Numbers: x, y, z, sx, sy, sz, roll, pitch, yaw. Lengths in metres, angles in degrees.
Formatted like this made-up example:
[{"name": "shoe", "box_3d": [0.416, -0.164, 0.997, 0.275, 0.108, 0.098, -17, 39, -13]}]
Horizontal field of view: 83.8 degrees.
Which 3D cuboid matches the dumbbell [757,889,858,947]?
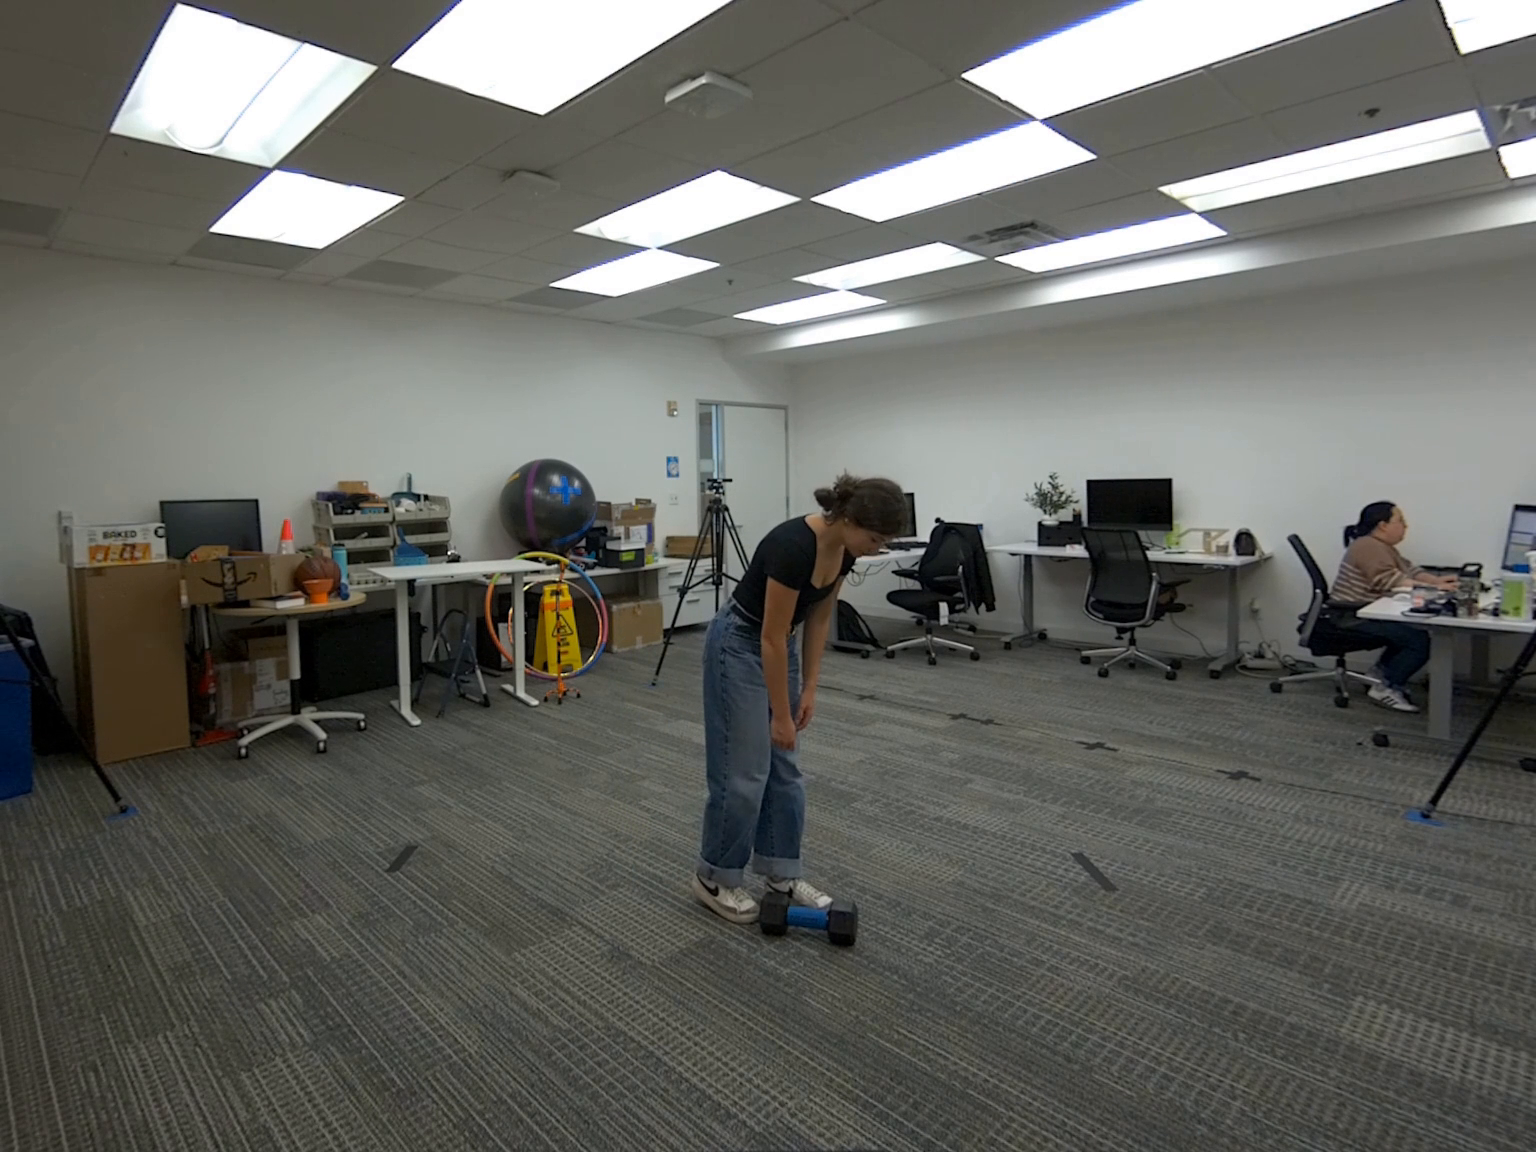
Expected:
[{"name": "dumbbell", "box_3d": [0.127, 1.046, 2.611, 0.298, 0.119, 0.110, 0, 34, 16]}]
